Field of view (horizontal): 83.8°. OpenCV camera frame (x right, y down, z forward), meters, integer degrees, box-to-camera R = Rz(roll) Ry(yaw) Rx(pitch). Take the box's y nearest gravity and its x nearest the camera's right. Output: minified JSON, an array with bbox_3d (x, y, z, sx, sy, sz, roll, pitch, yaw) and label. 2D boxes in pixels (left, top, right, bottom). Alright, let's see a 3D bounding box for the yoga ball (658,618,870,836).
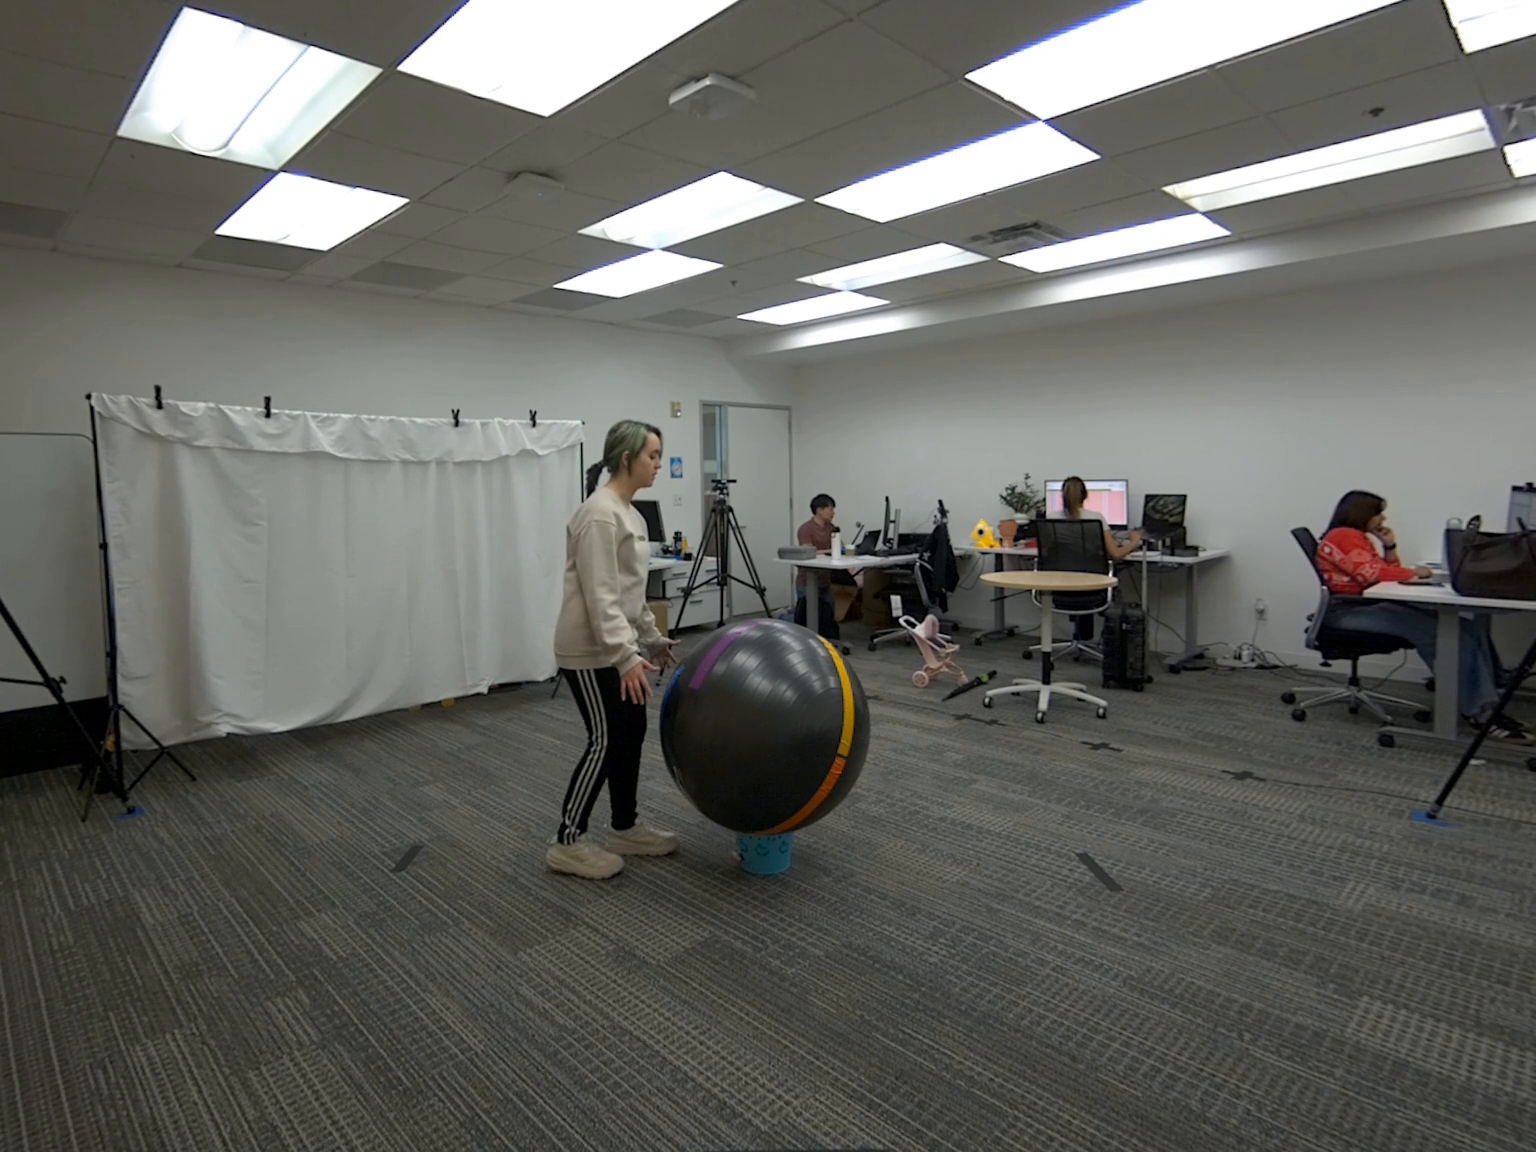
[{"bbox_3d":[-0.008,0.536,3.080,0.757,0.755,0.762,-1,5,-2],"label":"yoga ball"}]
